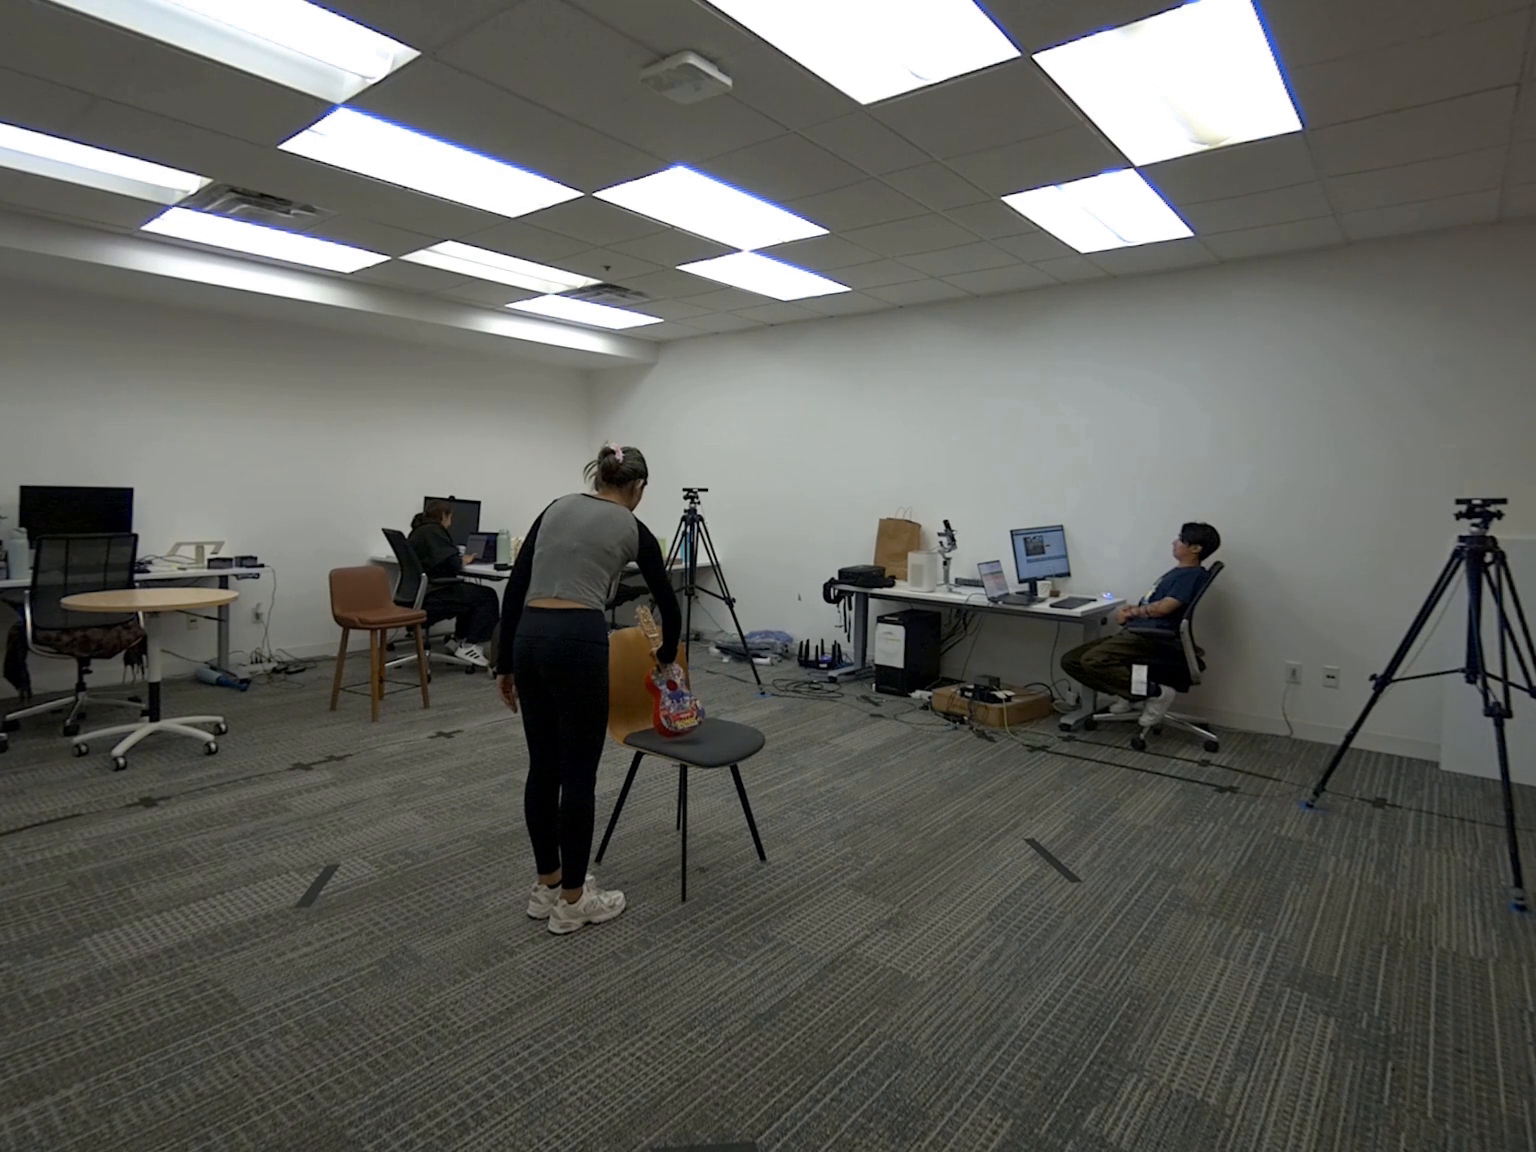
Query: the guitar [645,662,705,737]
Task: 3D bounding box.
[{"bbox_3d":[-0.373,0.341,3.160,0.187,0.512,0.071,3,-31,-34],"label":"guitar"}]
